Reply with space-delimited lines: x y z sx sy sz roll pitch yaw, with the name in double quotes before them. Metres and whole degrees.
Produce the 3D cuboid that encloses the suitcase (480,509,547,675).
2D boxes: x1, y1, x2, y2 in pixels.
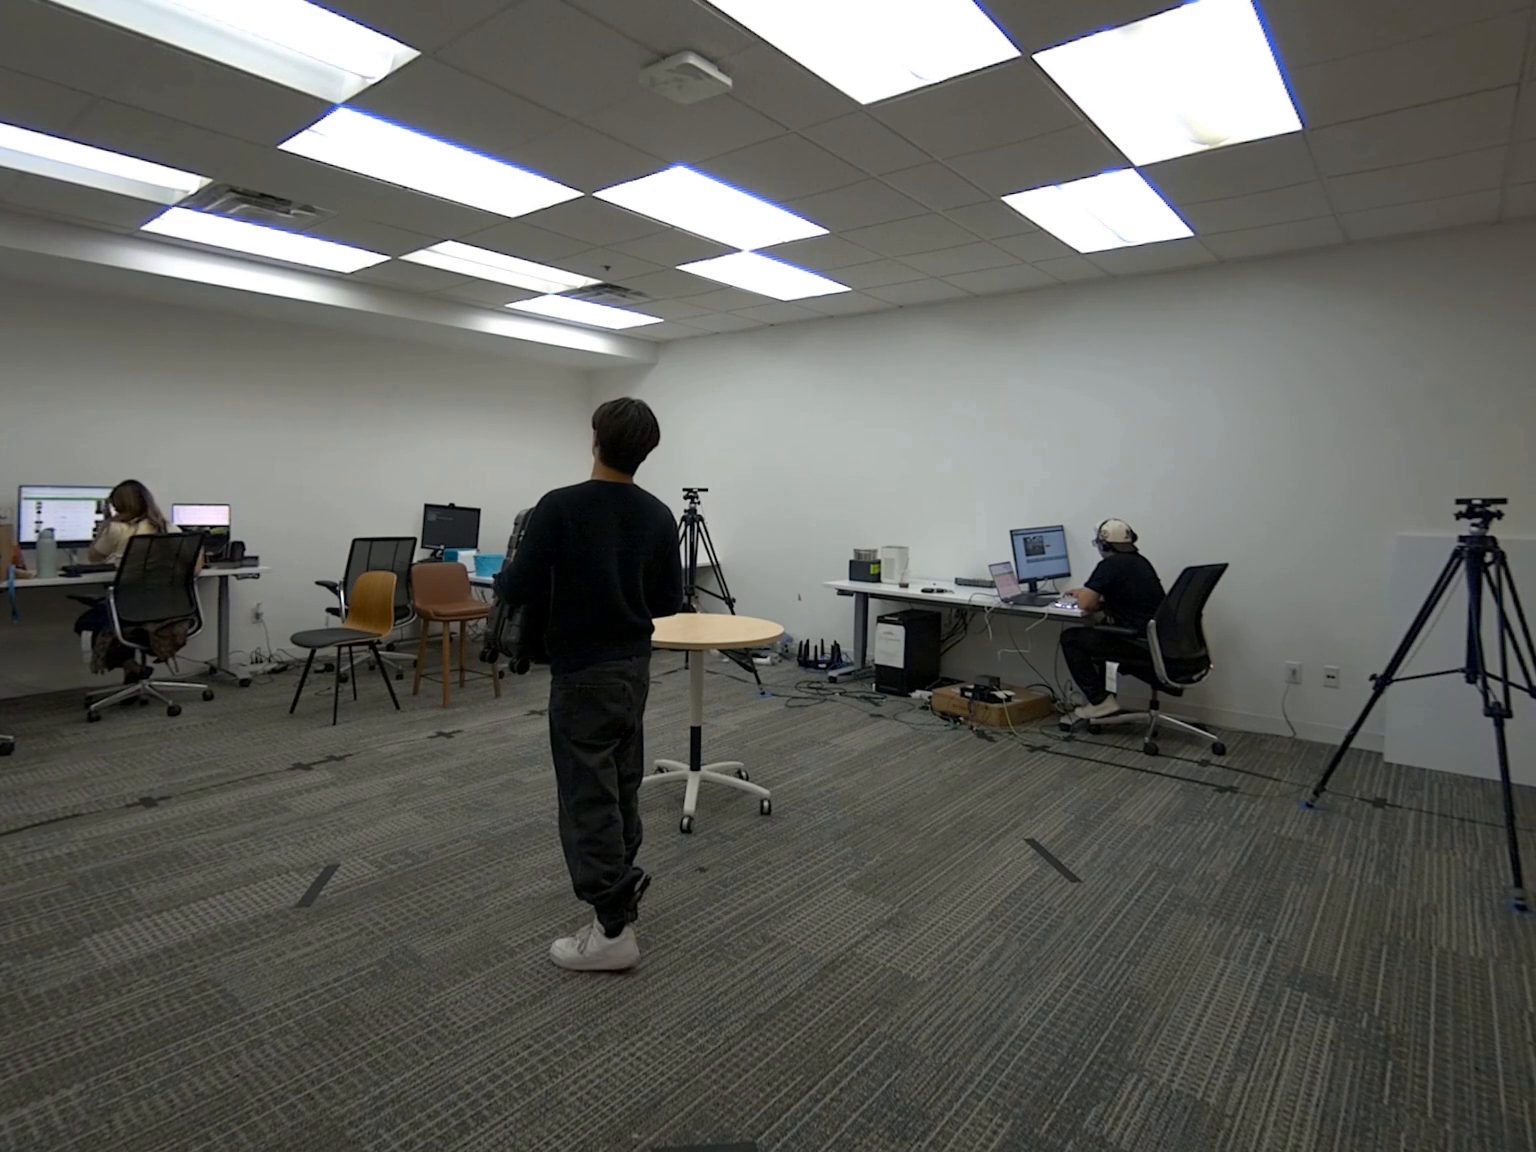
"suitcase" -0.716 0.052 2.843 0.361 0.552 0.256 16 -9 -42
